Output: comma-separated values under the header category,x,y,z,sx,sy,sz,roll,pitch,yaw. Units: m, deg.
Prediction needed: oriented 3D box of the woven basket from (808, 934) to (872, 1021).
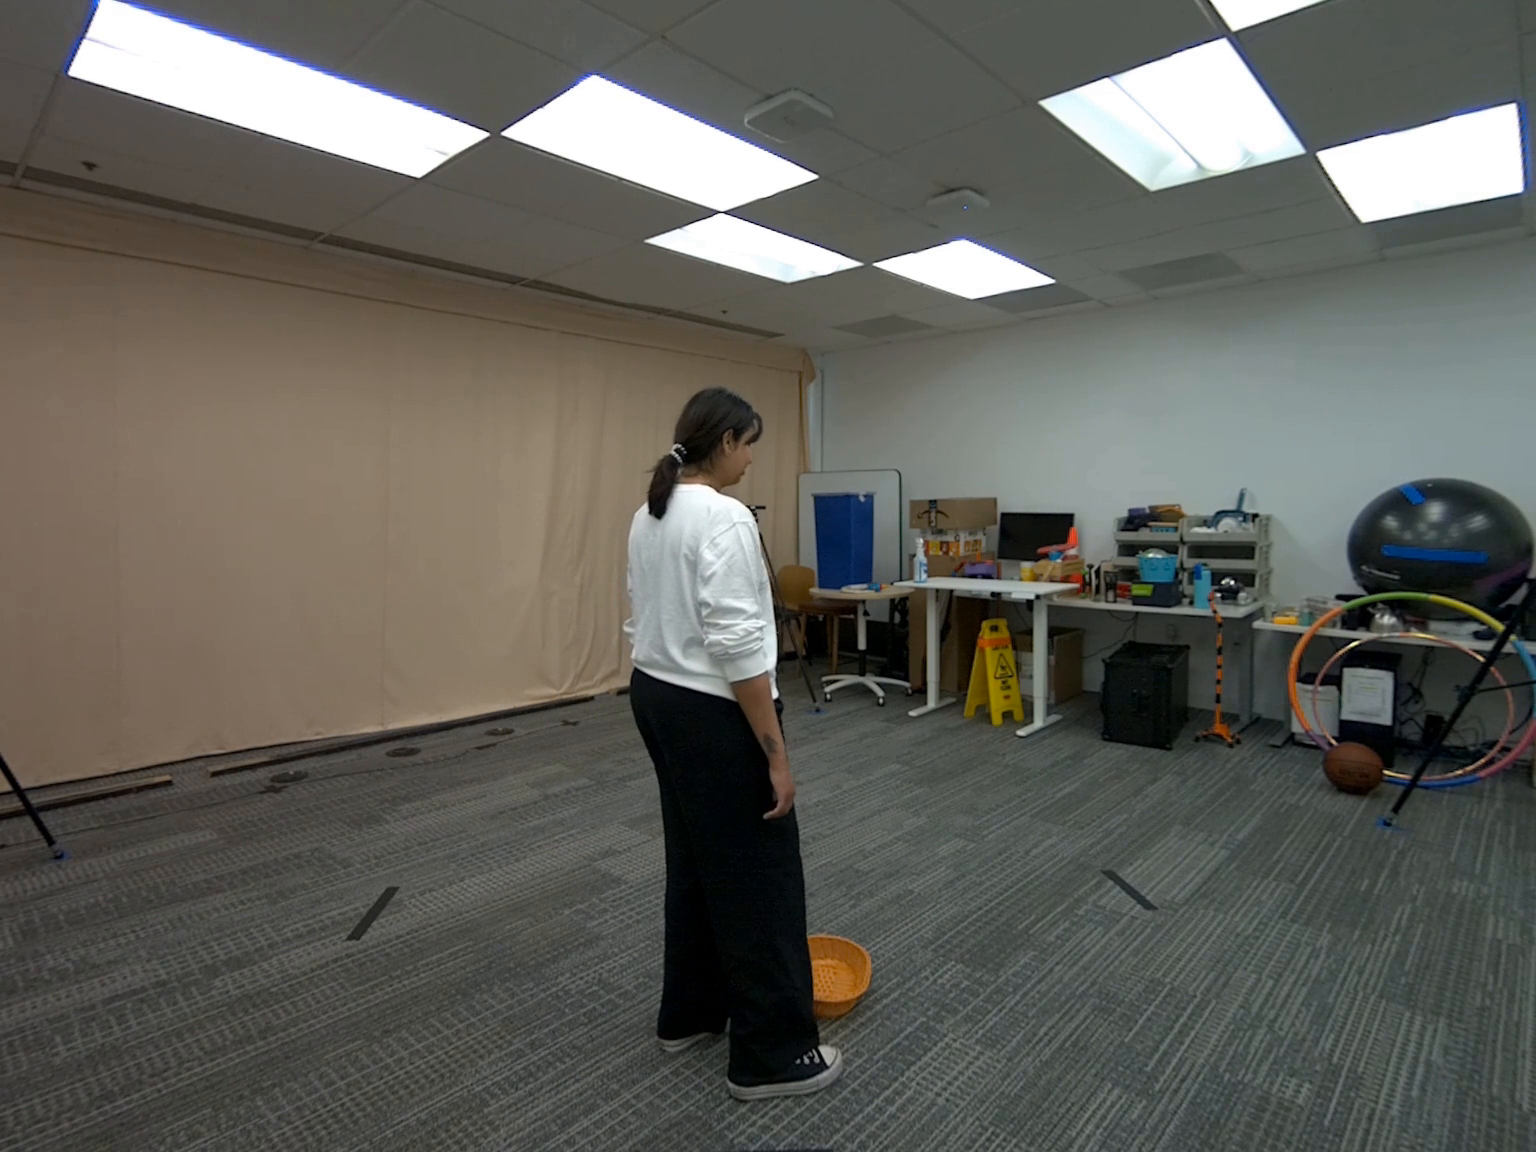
category,x,y,z,sx,sy,sz,roll,pitch,yaw
woven basket,0.173,1.149,2.424,0.256,0.073,0.346,2,5,13
